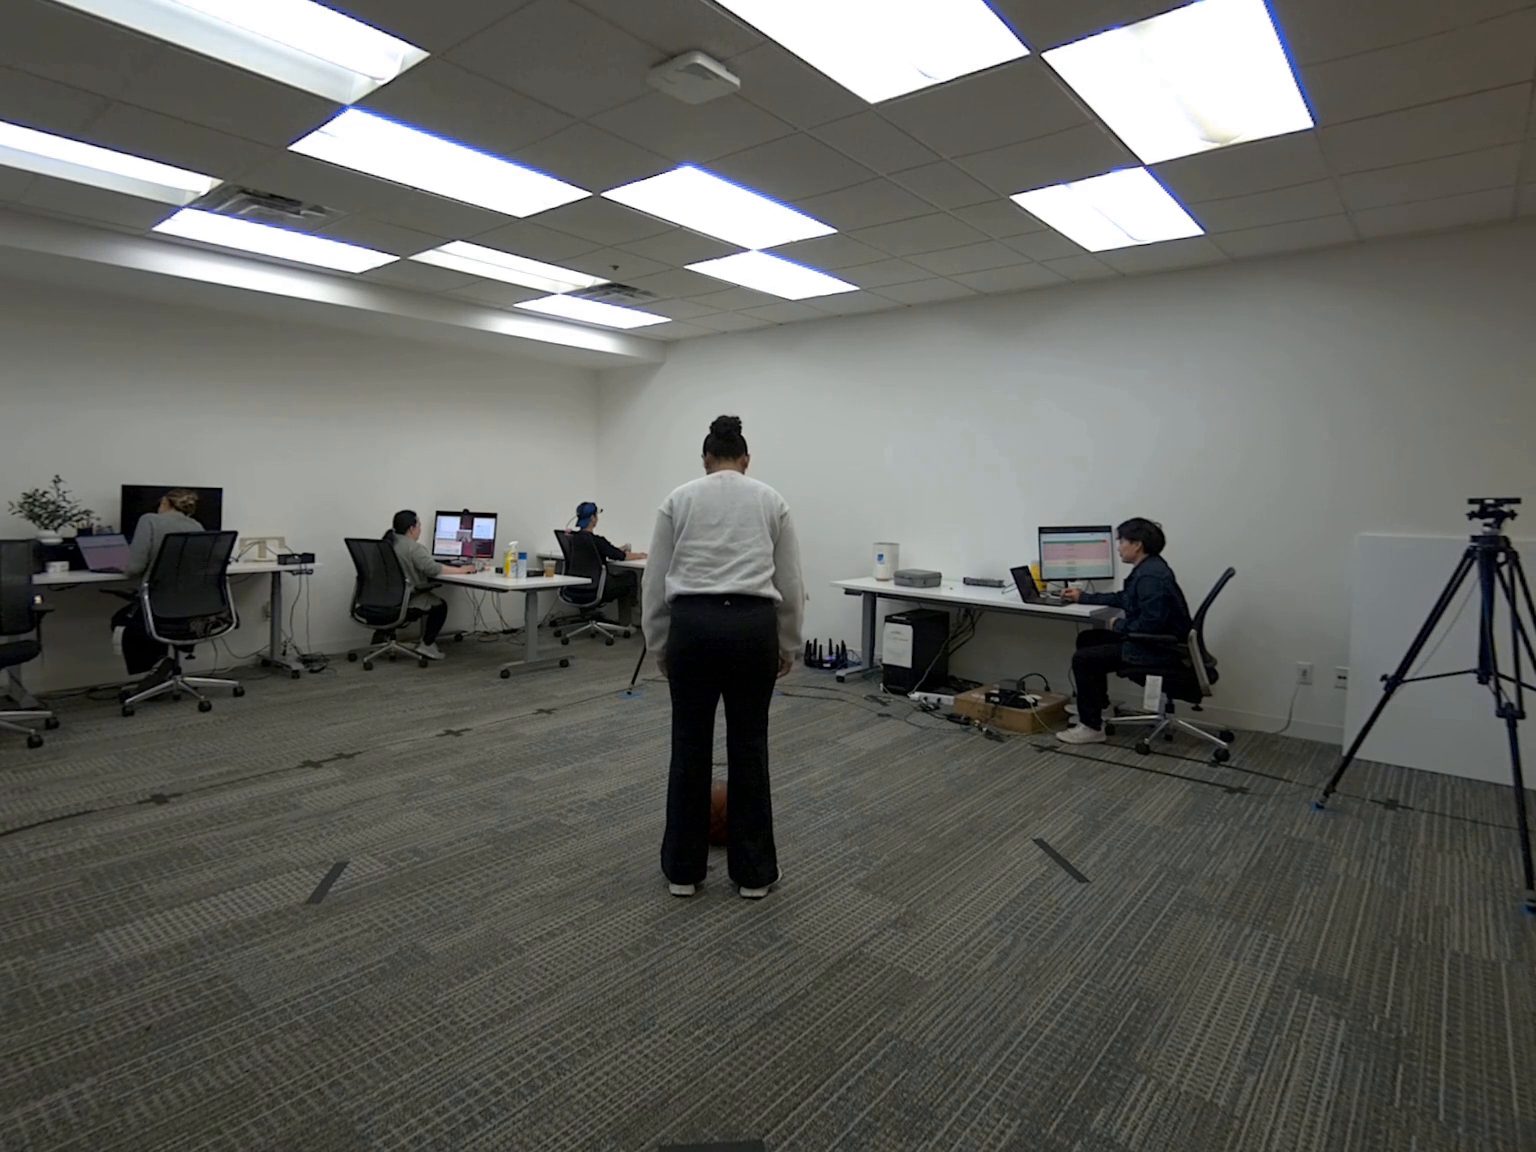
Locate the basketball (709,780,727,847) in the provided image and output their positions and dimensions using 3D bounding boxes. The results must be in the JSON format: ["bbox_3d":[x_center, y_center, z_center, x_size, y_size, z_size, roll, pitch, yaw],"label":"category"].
[{"bbox_3d":[-0.200,0.918,3.350,0.235,0.235,0.237,1,4,-2],"label":"basketball"}]
